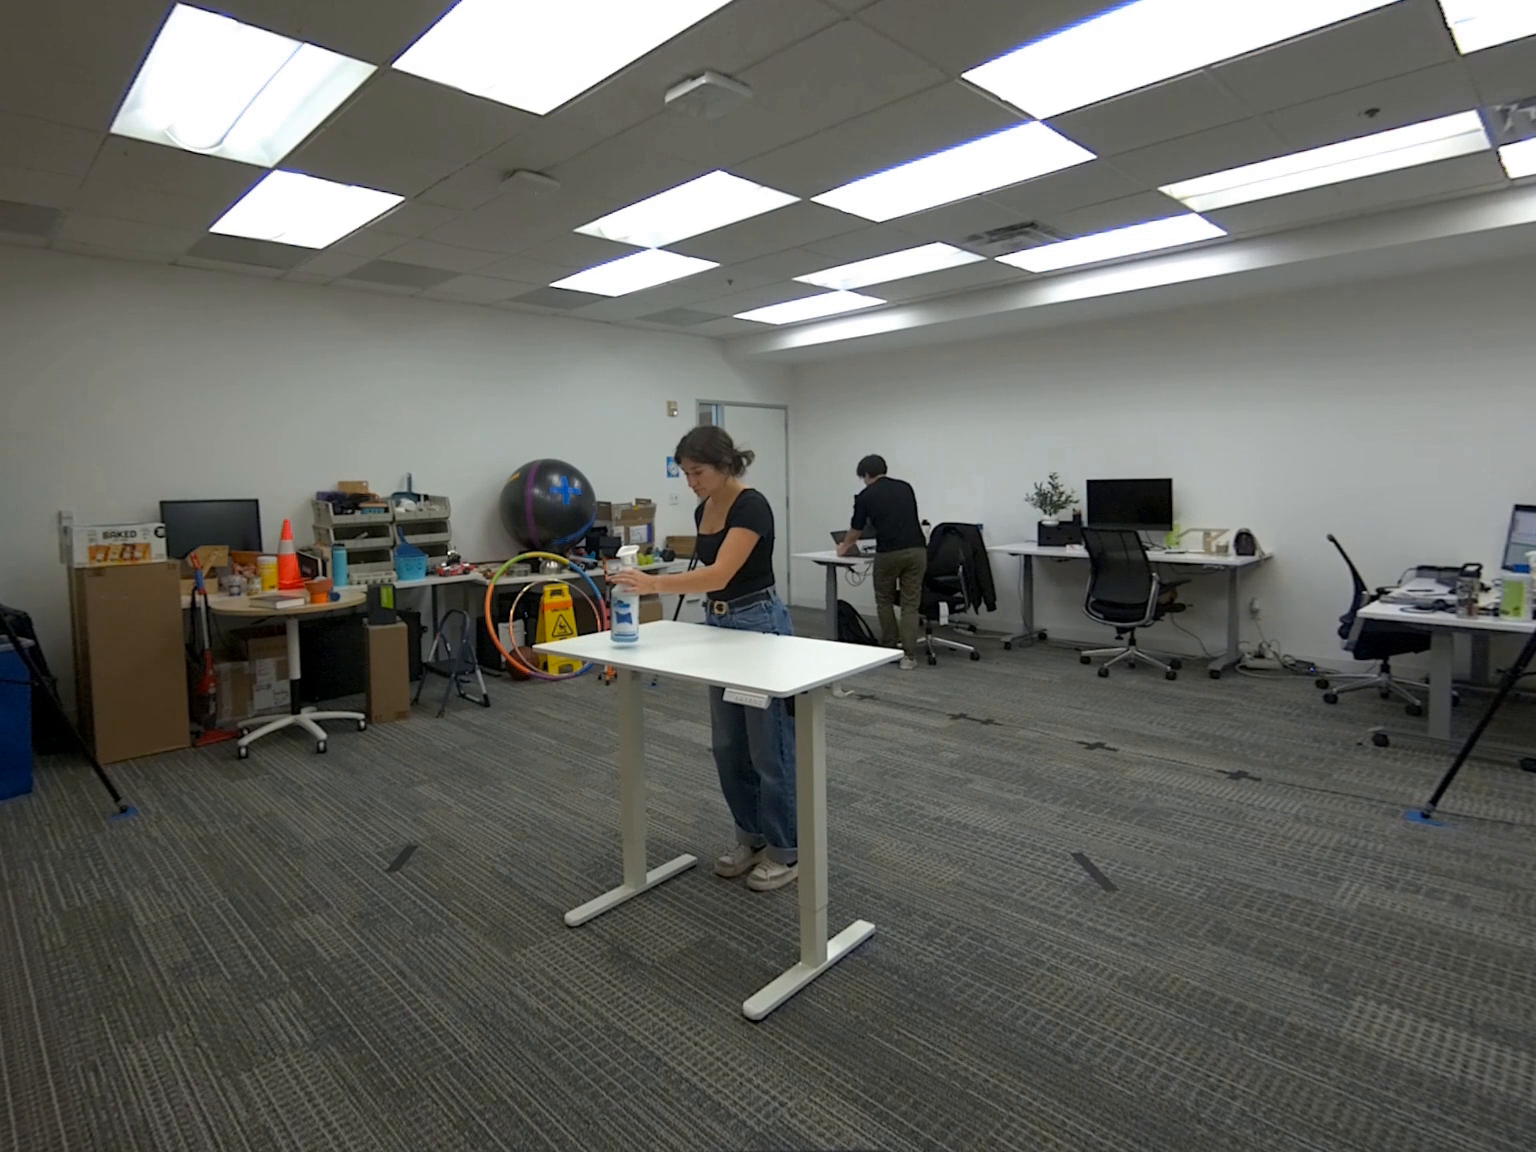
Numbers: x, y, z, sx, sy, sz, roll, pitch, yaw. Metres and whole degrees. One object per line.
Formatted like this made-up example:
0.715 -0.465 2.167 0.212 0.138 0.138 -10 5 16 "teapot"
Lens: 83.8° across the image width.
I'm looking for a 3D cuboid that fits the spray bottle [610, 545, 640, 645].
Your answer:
-0.442 0.057 2.650 0.088 0.297 0.089 1 3 -29 "spray bottle"
